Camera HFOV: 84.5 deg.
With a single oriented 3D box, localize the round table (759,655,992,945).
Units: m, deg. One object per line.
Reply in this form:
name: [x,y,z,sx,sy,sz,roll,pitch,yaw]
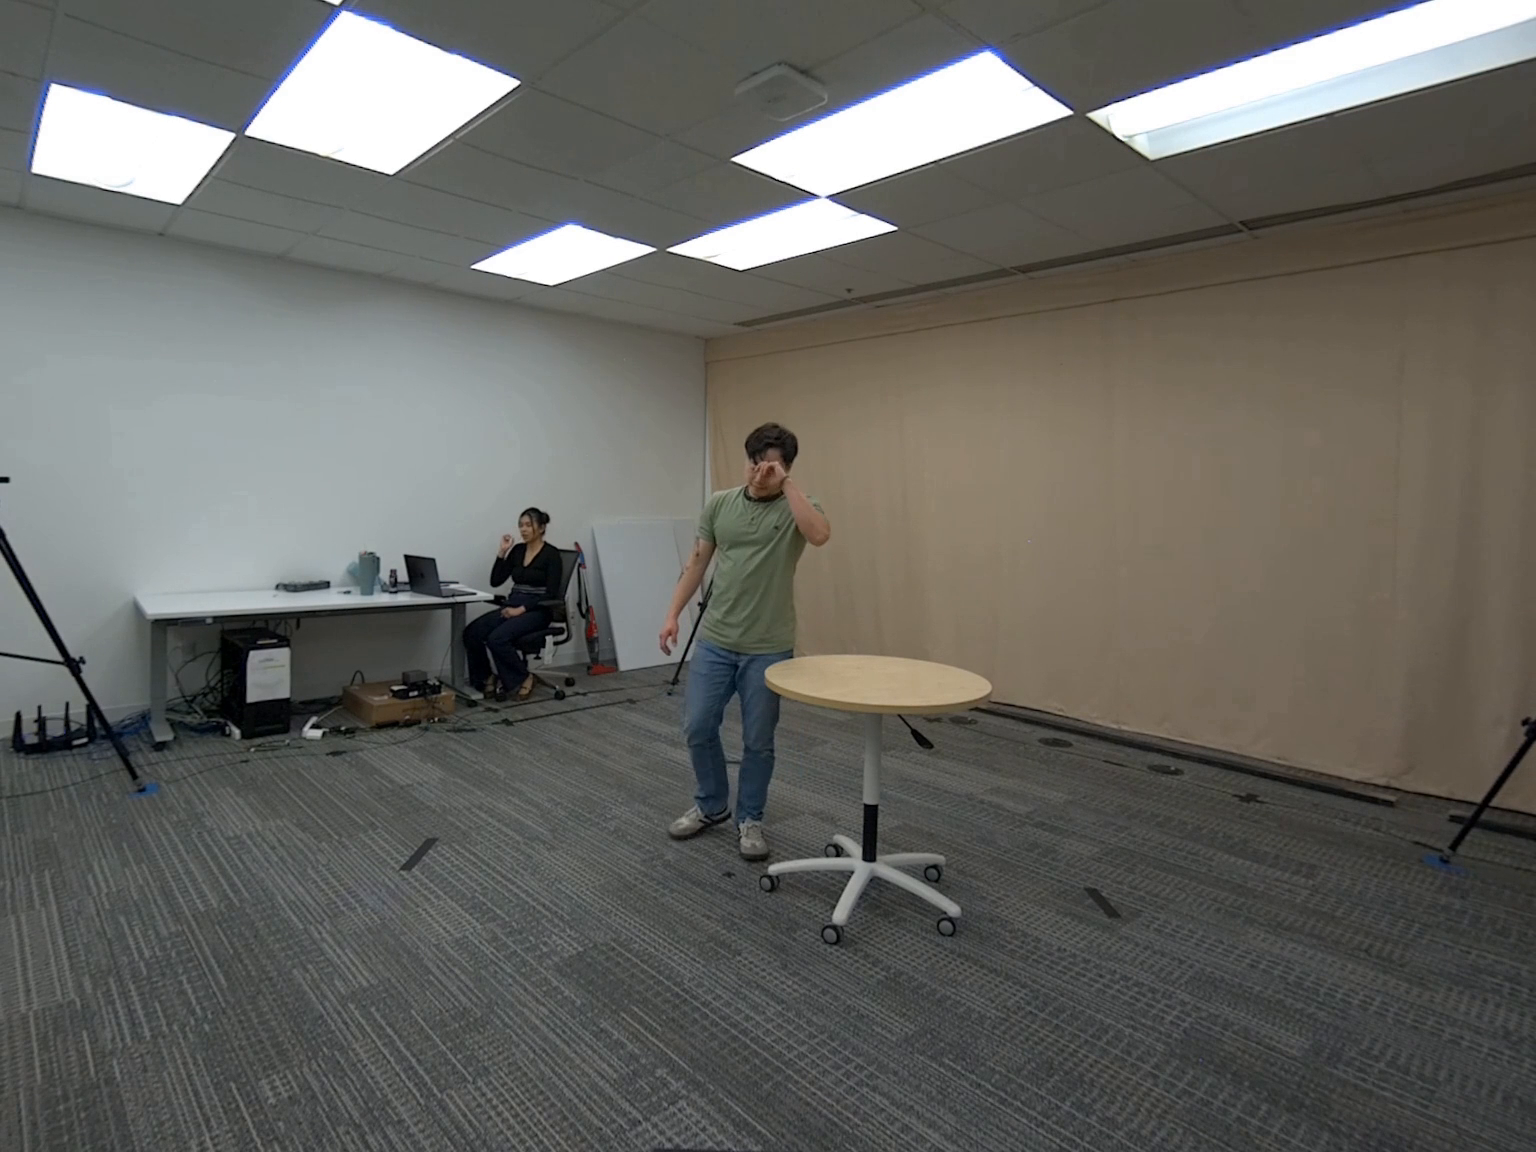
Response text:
round table: [0.354,0.743,2.910,0.763,0.791,0.767,2,5,-2]
